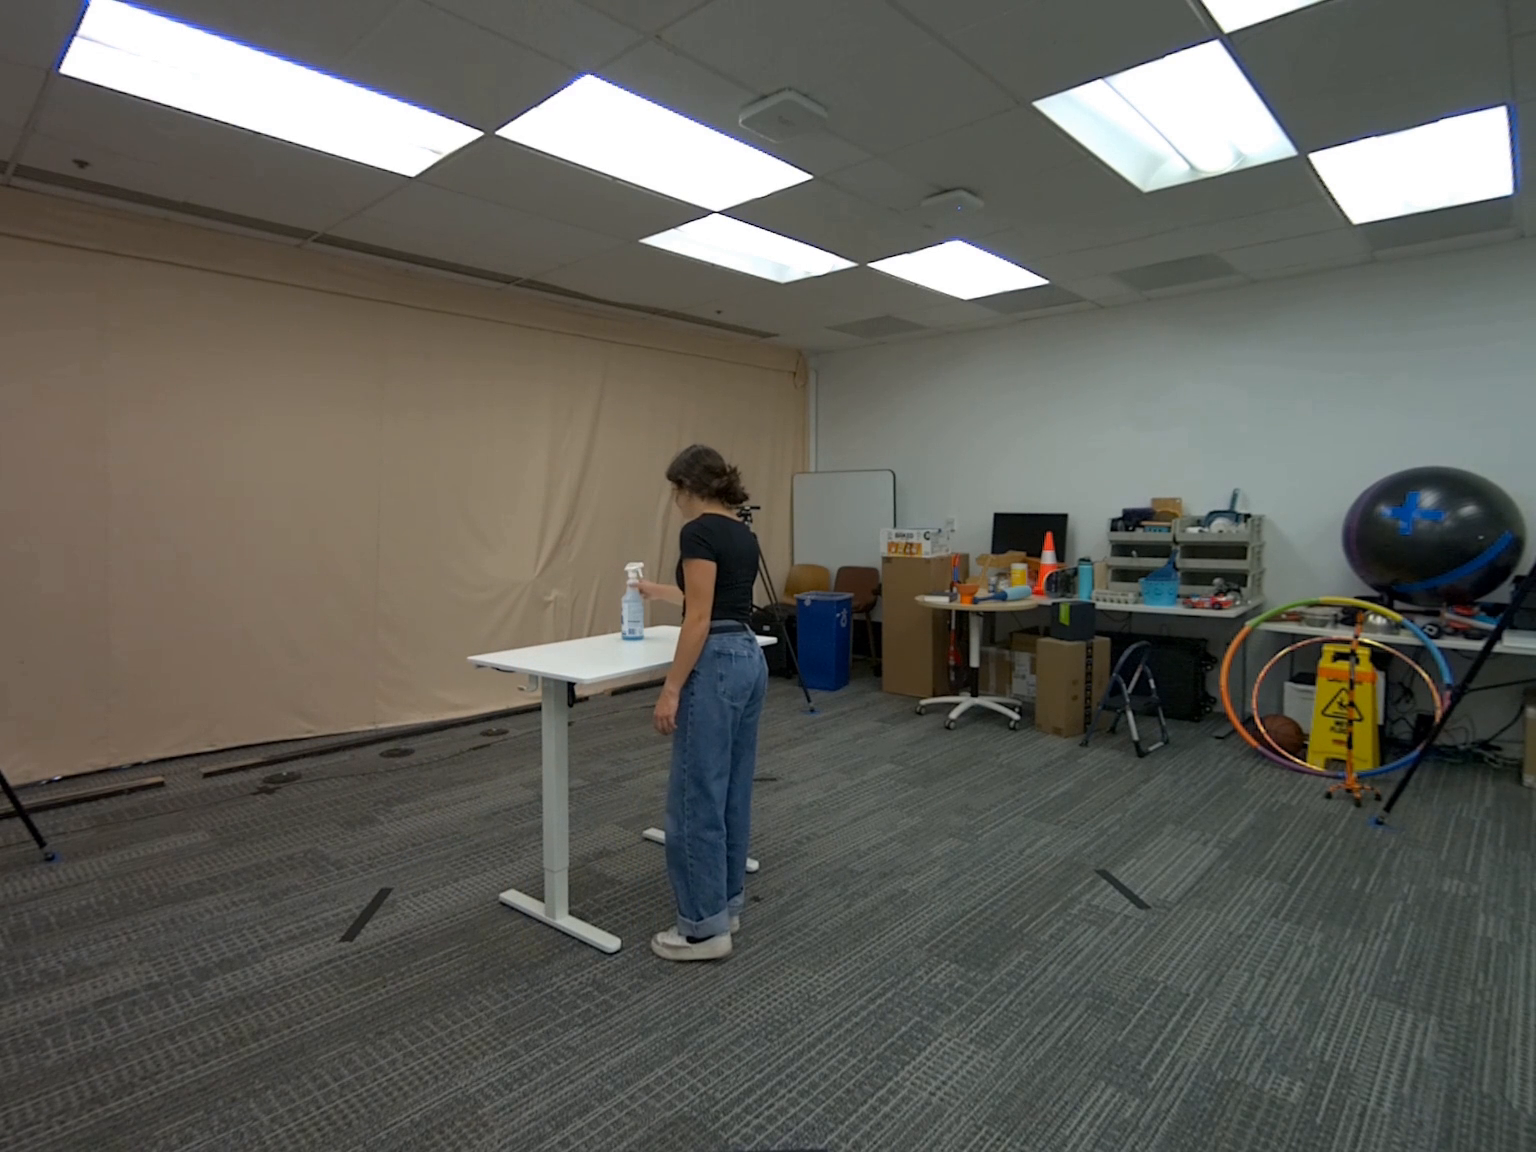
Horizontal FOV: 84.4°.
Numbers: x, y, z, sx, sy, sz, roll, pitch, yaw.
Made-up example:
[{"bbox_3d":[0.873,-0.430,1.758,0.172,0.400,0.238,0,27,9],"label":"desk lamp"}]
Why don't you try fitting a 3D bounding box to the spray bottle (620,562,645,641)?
[{"bbox_3d":[-0.527,0.097,3.253,0.085,0.296,0.093,-3,5,-30],"label":"spray bottle"}]
